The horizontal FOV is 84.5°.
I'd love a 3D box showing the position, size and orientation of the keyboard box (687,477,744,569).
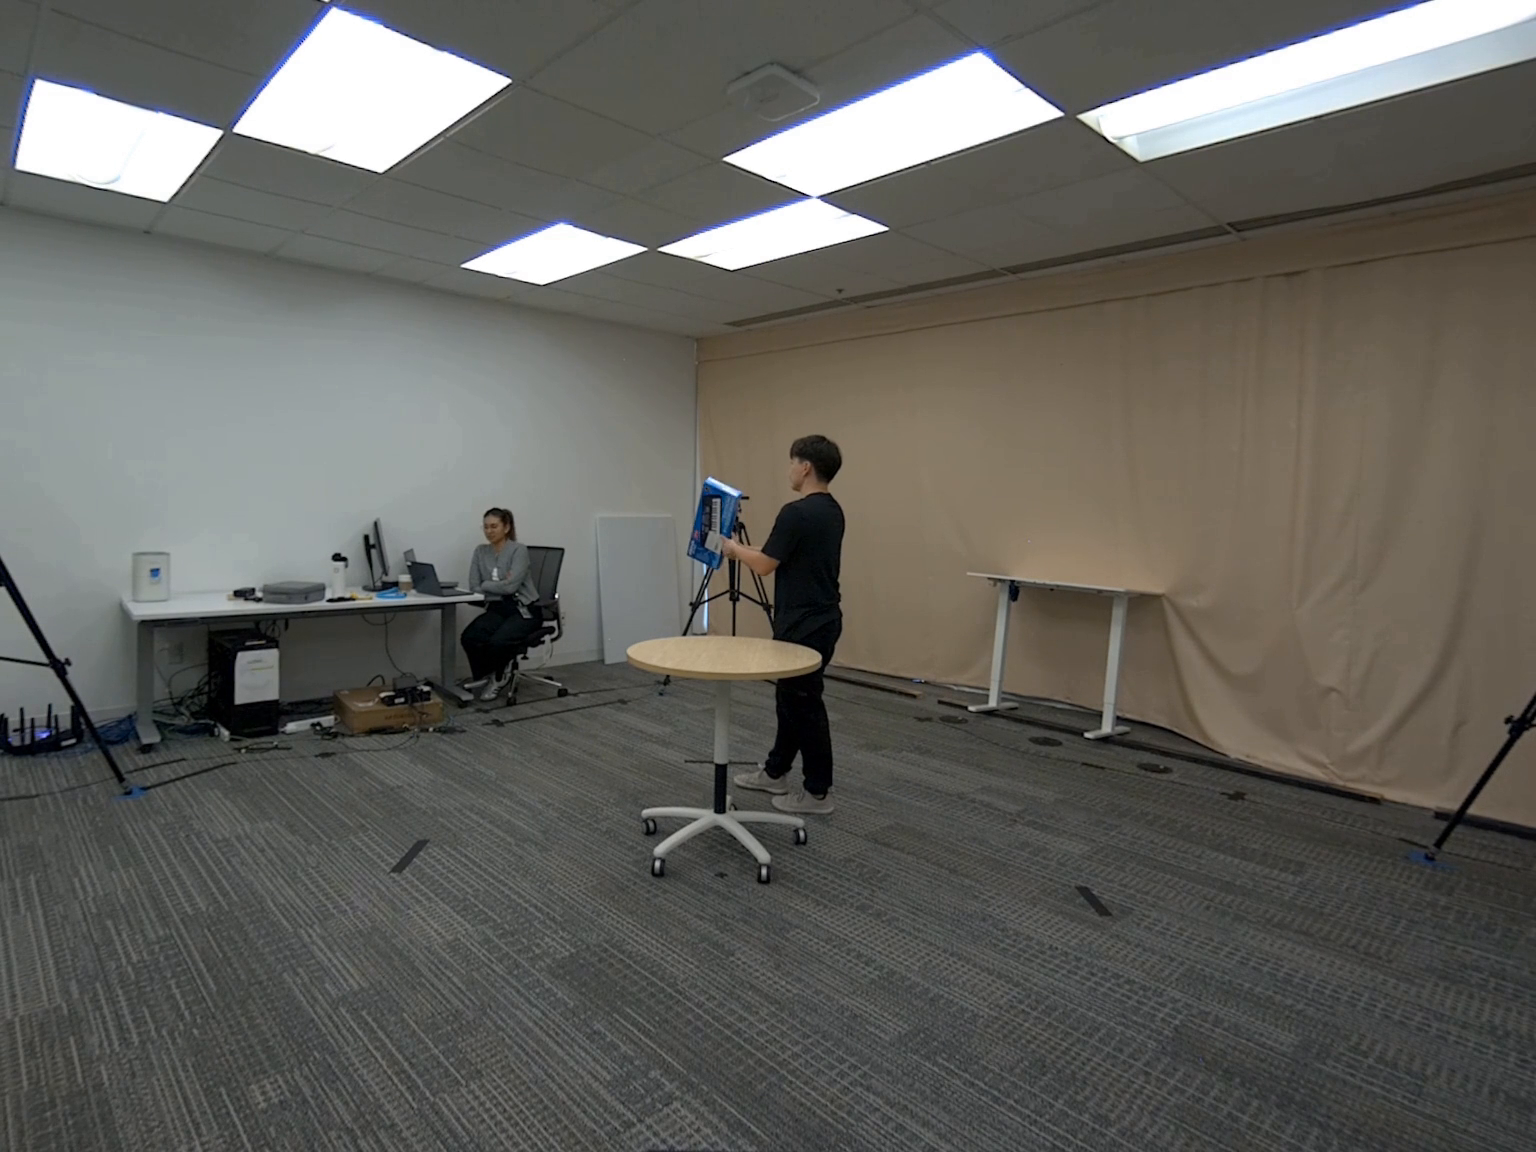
[{"bbox_3d":[-0.258,-0.241,3.927,0.178,0.431,0.059,27,39,11],"label":"keyboard box"}]
